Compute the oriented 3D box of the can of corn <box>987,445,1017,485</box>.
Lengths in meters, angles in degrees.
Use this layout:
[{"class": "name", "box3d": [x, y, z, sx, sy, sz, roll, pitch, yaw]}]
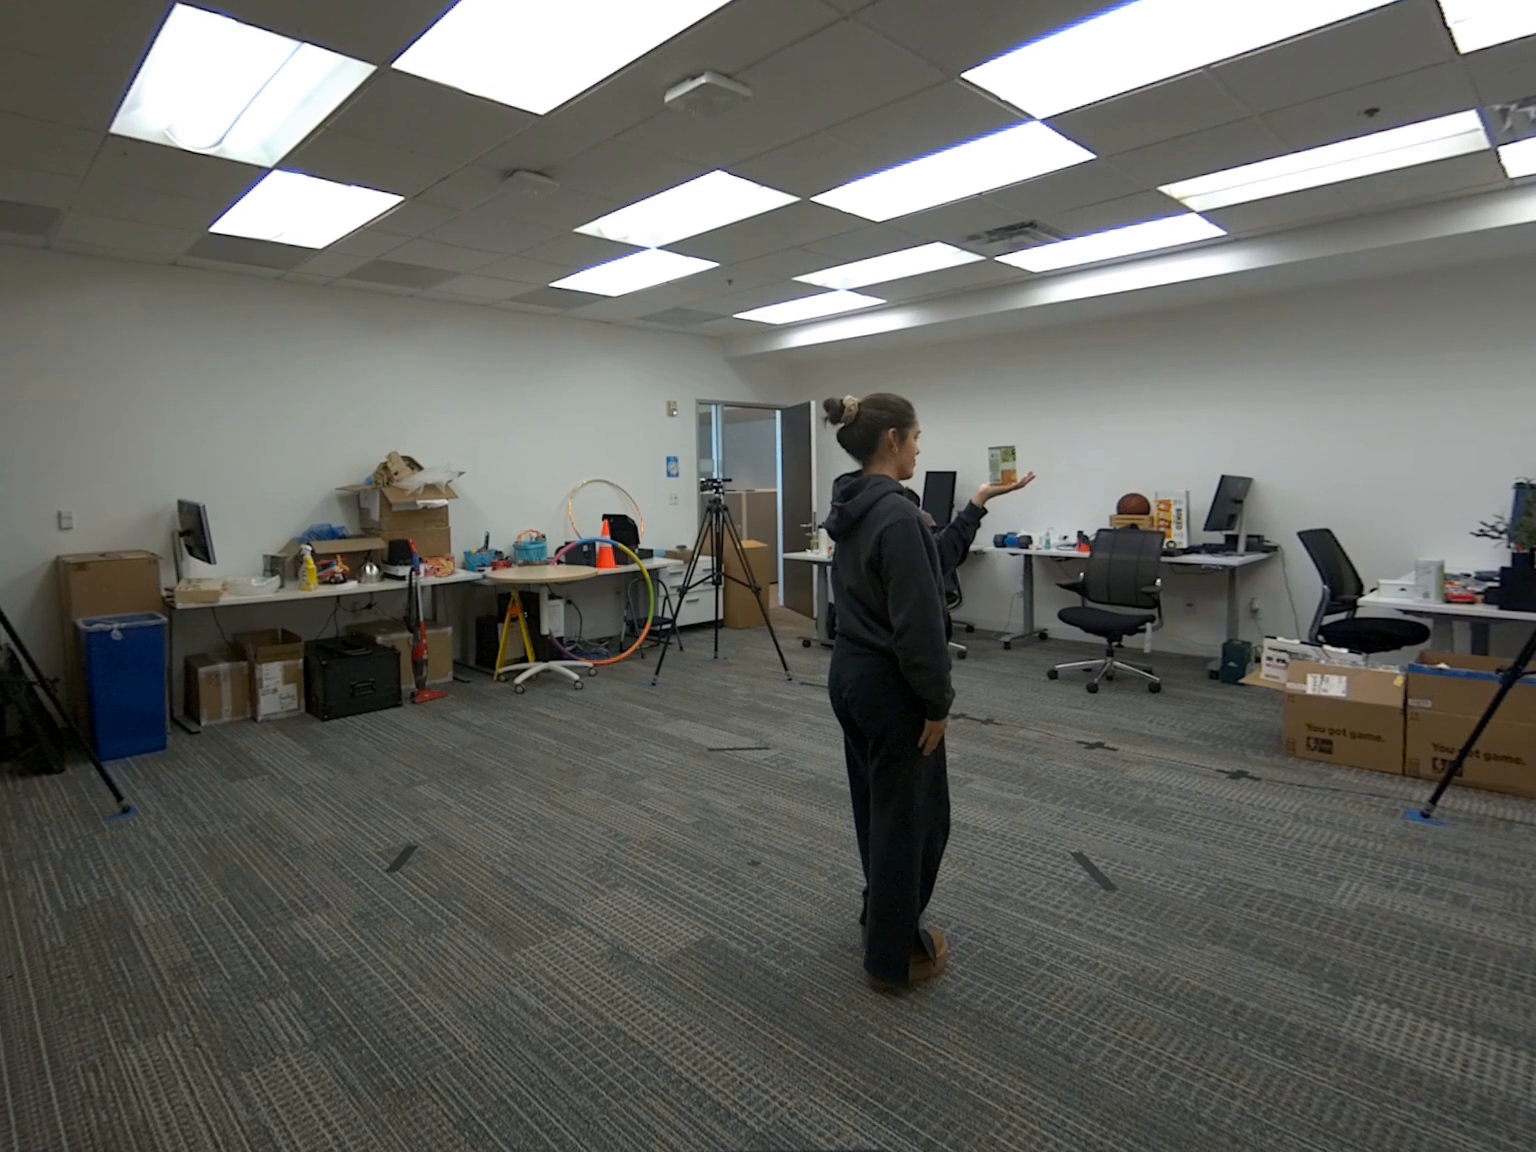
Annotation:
[{"class": "can of corn", "box3d": [0.673, -0.318, 2.440, 0.074, 0.110, 0.075, -4, 6, -1]}]
